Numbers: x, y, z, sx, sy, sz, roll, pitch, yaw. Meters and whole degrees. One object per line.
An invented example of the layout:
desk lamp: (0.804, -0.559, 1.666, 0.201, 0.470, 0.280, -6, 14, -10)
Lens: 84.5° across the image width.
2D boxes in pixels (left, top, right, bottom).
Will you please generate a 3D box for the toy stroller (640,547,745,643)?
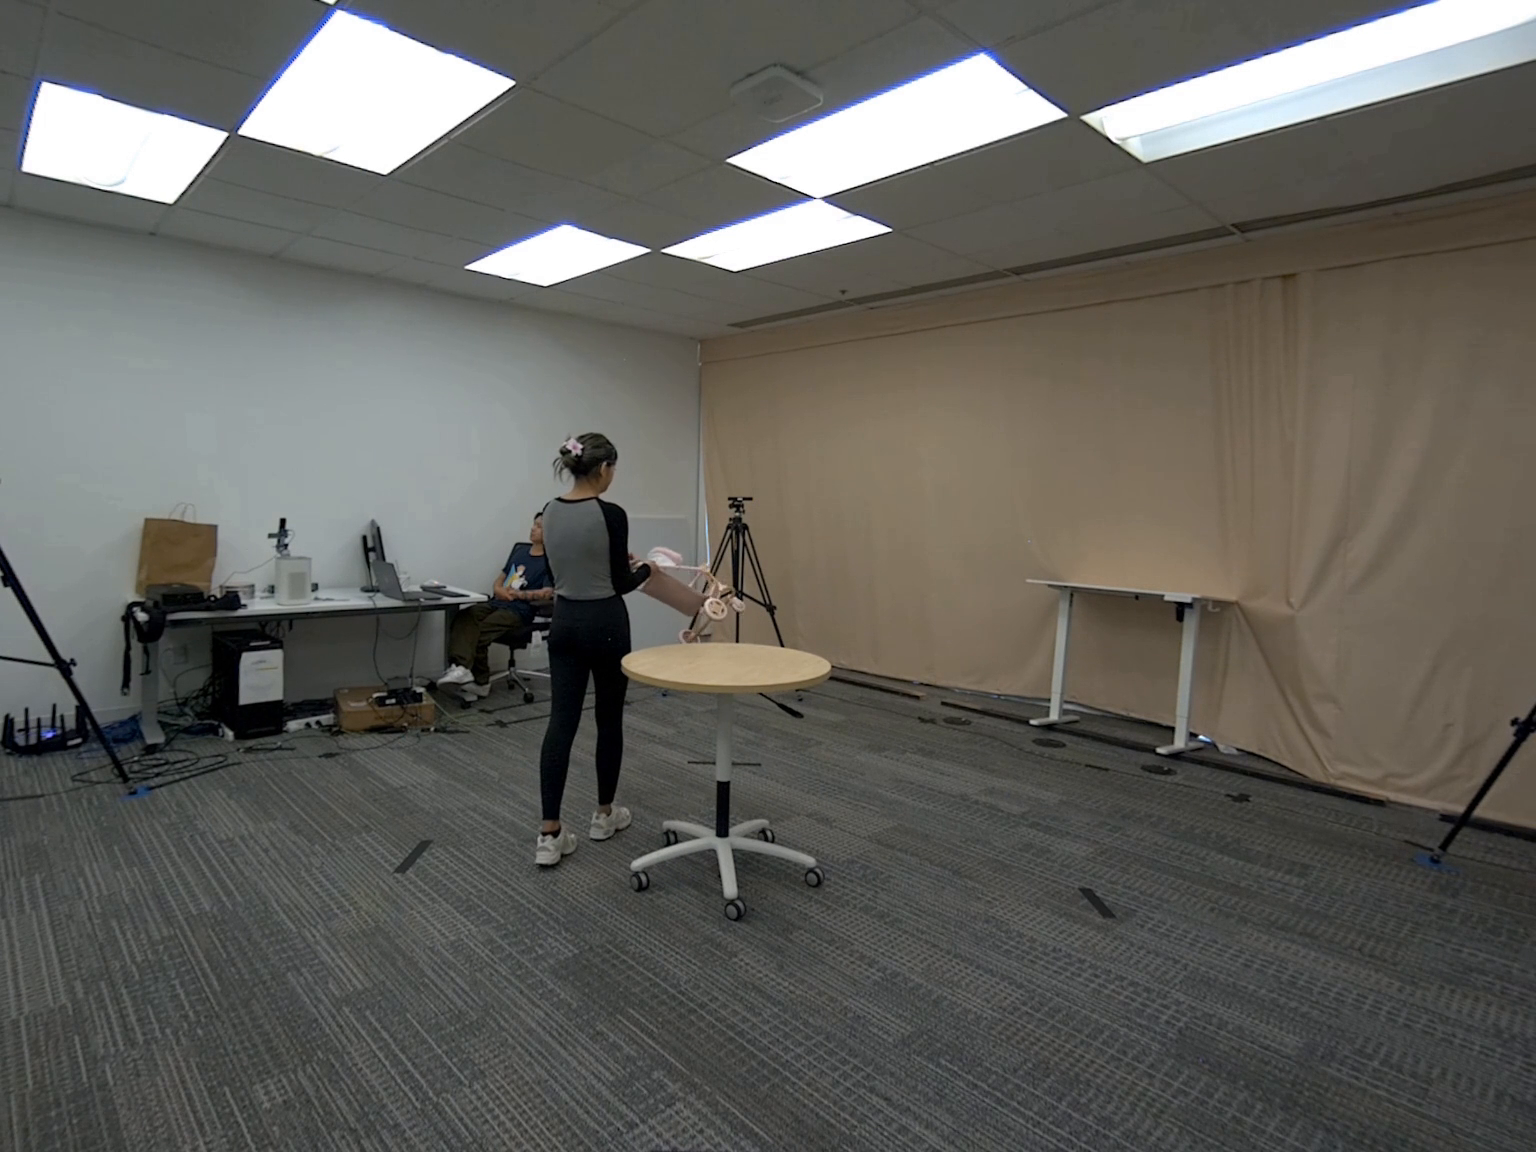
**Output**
toy stroller: (-0.373, 0.057, 3.769, 0.281, 0.534, 0.342, -49, 3, 45)
